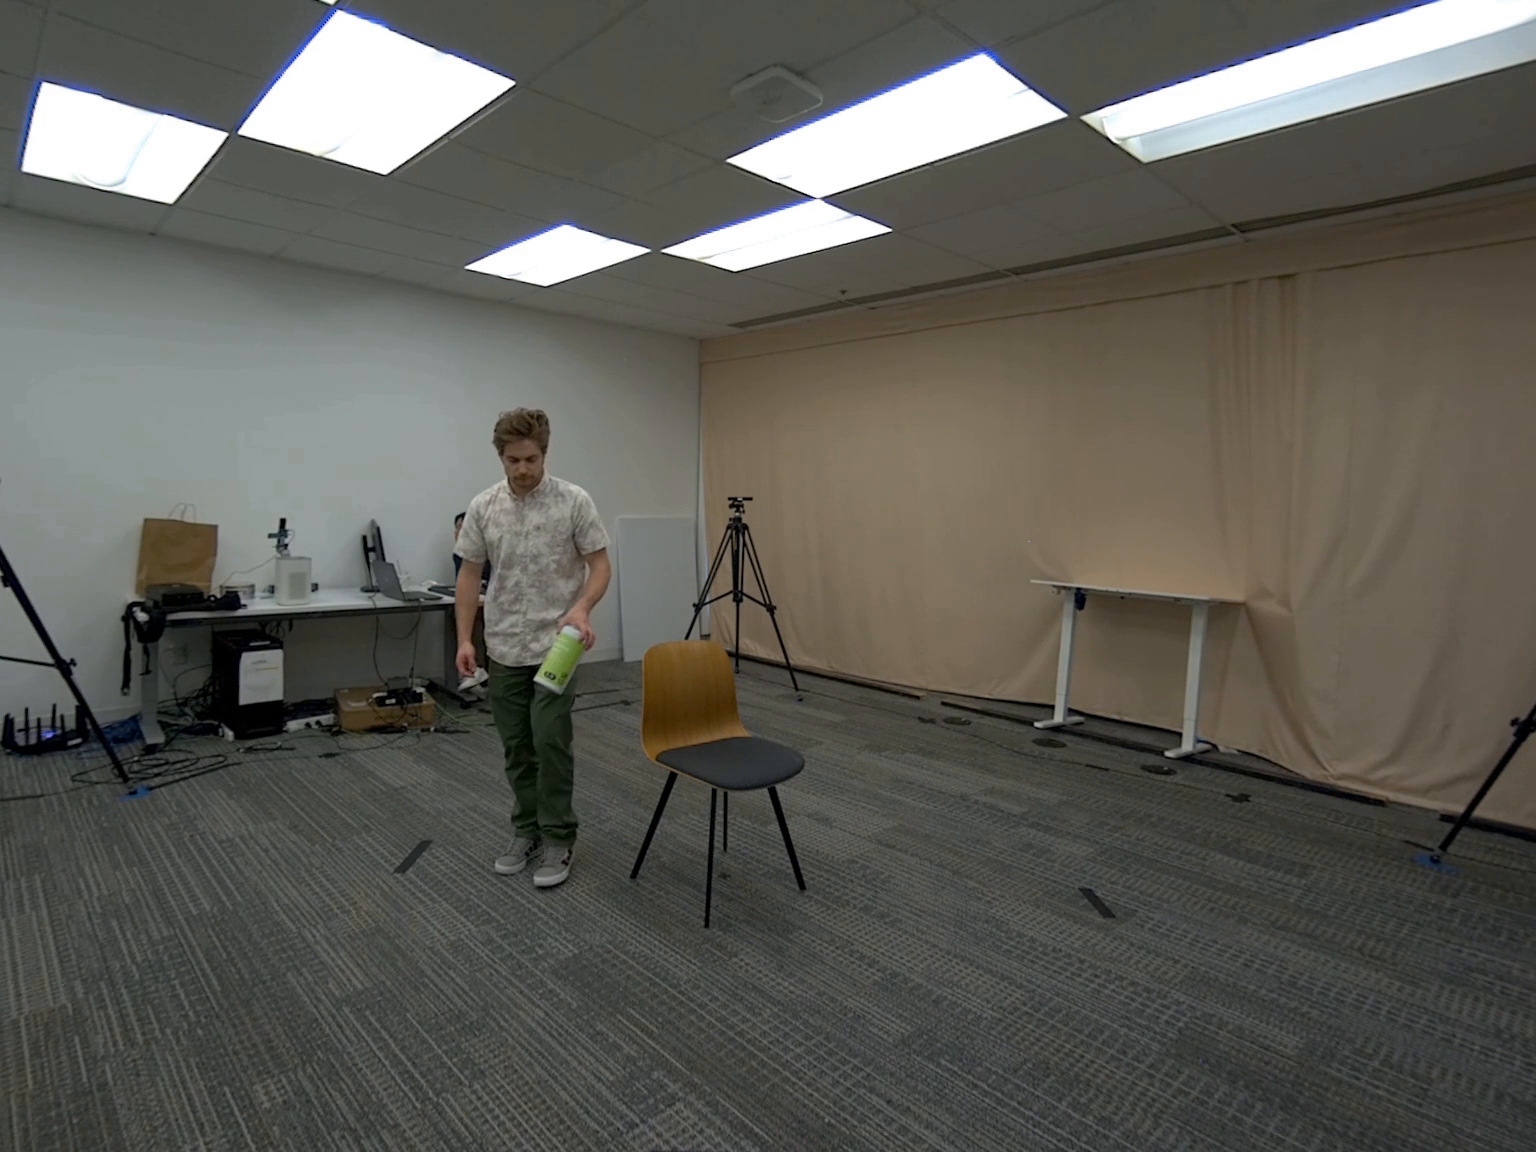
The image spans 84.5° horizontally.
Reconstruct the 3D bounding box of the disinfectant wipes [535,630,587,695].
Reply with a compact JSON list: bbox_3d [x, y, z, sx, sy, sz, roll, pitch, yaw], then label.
[{"bbox_3d":[-0.720,0.300,2.870,0.118,0.219,0.116,21,-17,5],"label":"disinfectant wipes"}]
